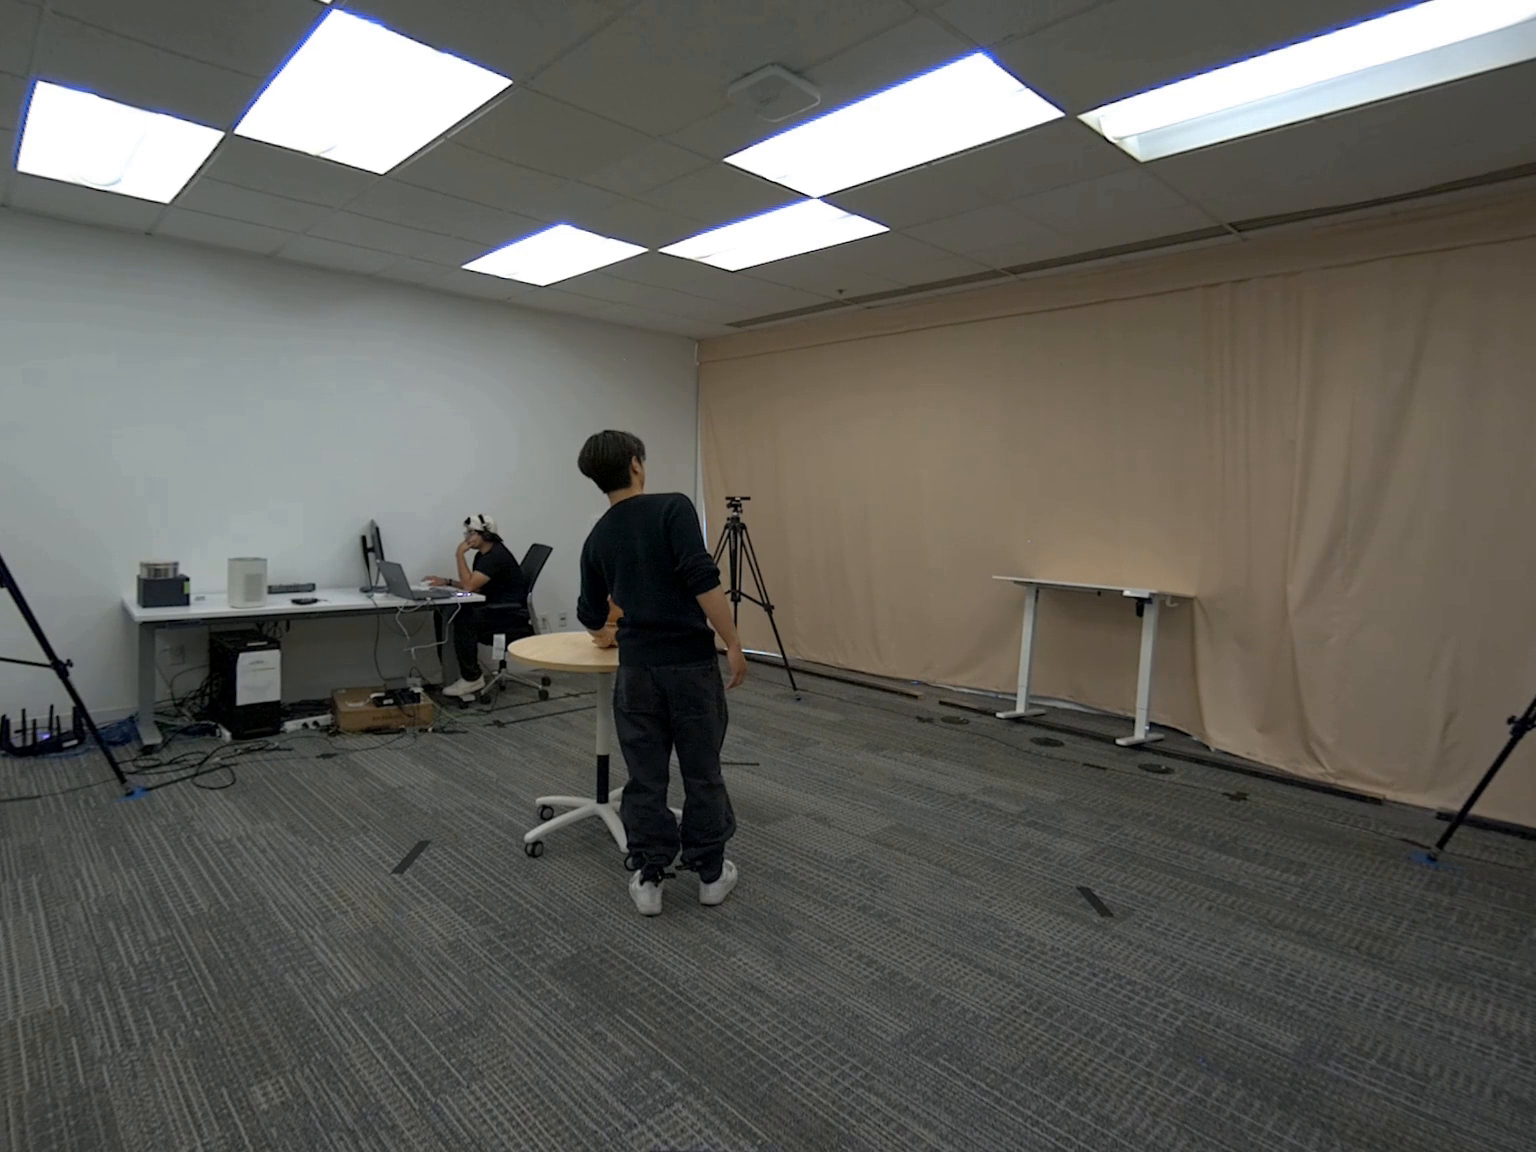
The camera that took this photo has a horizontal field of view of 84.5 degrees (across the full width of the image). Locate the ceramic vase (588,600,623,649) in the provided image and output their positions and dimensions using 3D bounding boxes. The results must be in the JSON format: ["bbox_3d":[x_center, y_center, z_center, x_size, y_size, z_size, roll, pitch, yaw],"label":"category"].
[{"bbox_3d":[-0.645,0.169,3.407,0.137,0.221,0.154,-6,-9,41],"label":"ceramic vase"}]
